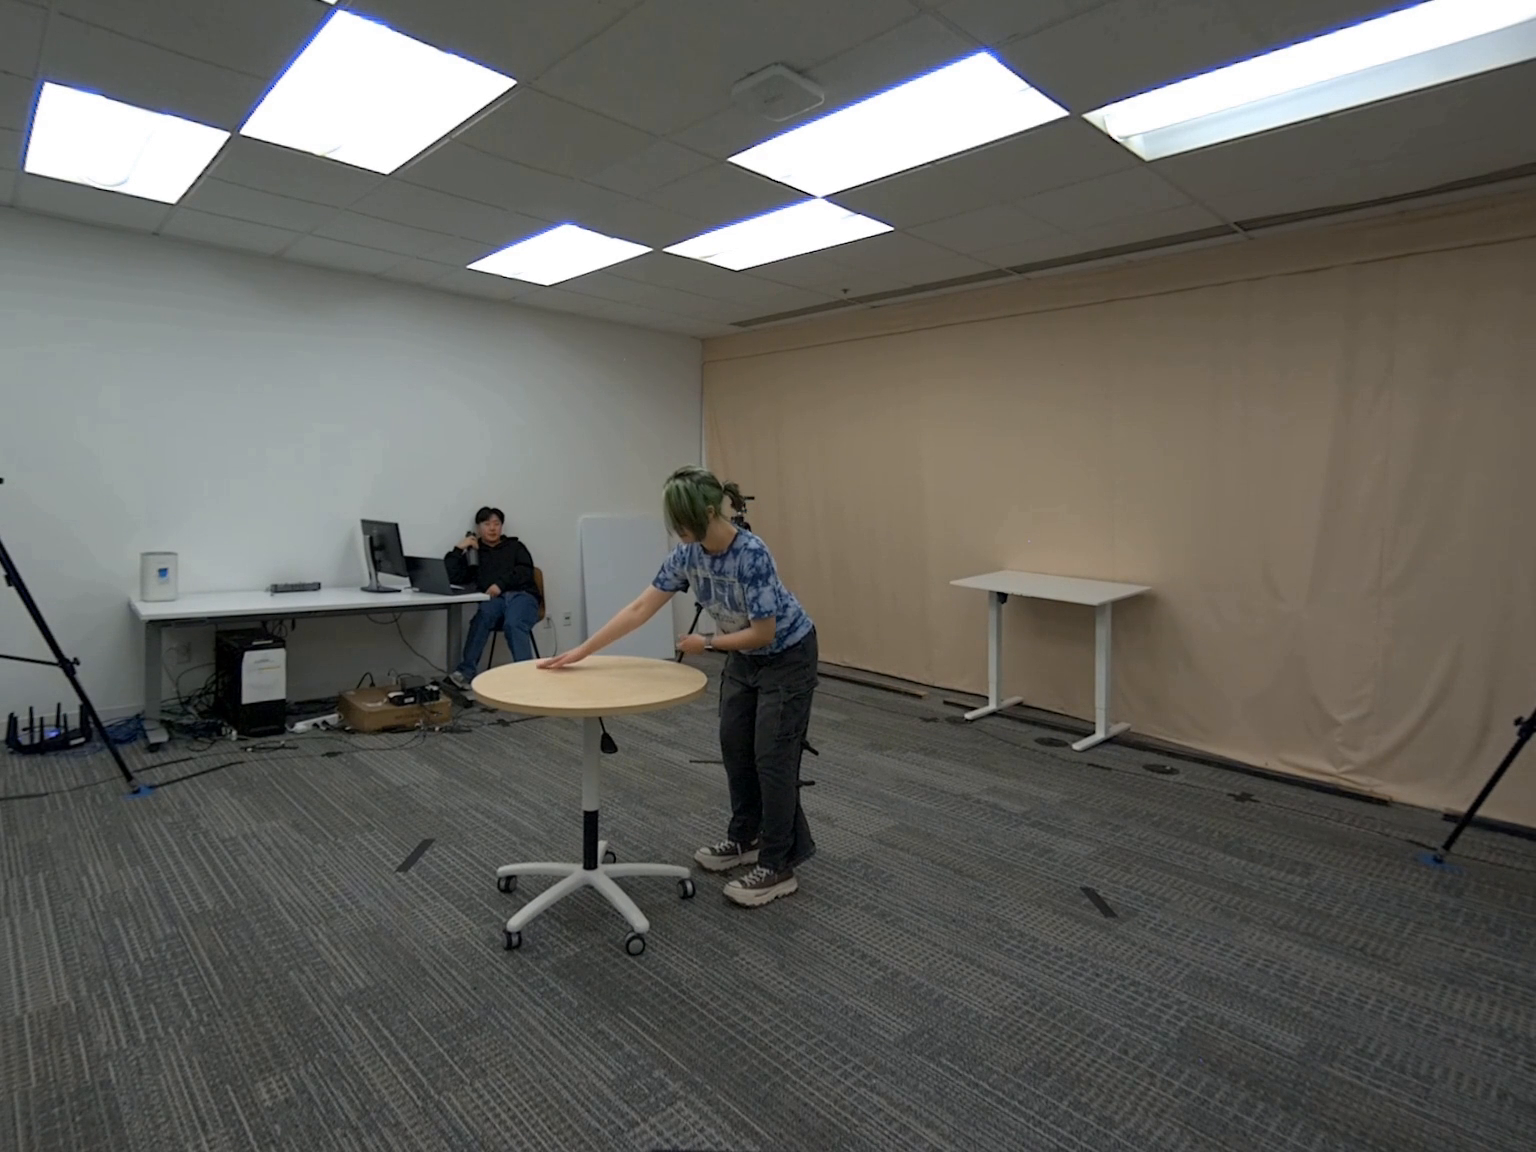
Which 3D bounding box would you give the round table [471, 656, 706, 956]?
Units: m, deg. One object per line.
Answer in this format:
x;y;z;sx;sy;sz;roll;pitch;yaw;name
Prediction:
-0.597;0.734;2.799;0.763;0.792;0.767;1;4;-1;round table
